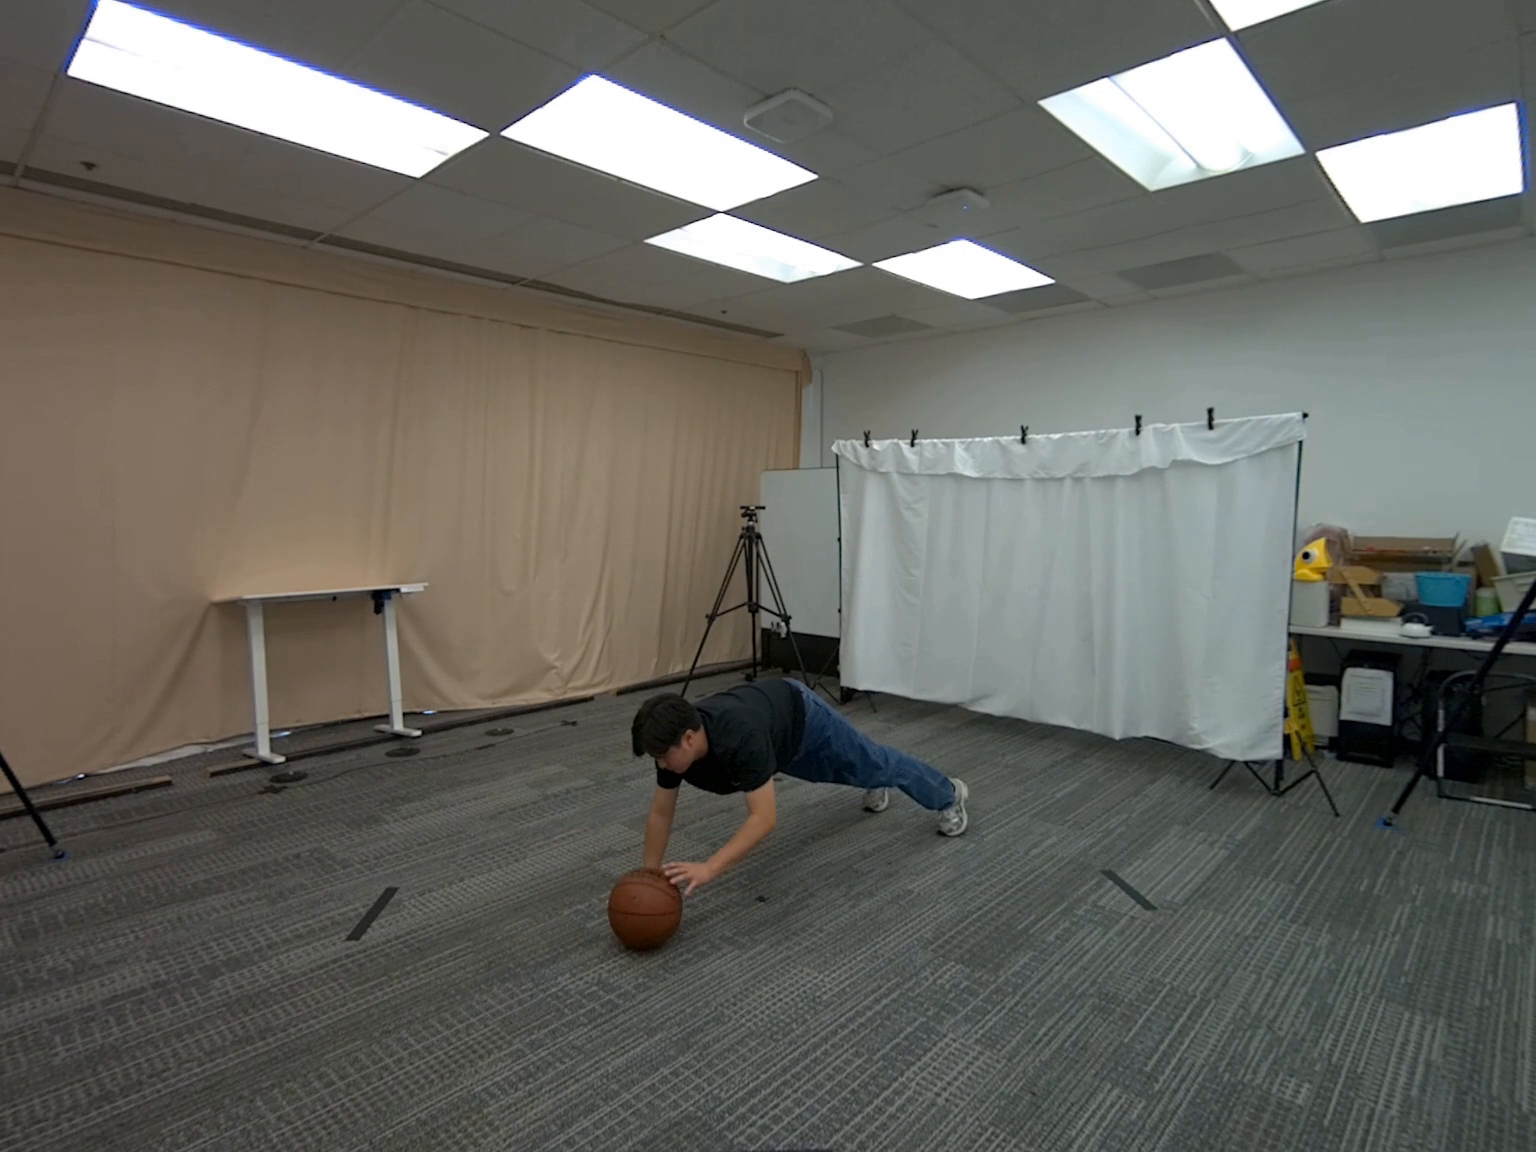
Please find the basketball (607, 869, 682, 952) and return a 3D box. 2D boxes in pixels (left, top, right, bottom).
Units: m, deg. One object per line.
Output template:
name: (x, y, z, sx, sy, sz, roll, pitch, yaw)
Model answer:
basketball: (-0.389, 1.051, 2.667, 0.236, 0.235, 0.237, 0, 4, -2)
